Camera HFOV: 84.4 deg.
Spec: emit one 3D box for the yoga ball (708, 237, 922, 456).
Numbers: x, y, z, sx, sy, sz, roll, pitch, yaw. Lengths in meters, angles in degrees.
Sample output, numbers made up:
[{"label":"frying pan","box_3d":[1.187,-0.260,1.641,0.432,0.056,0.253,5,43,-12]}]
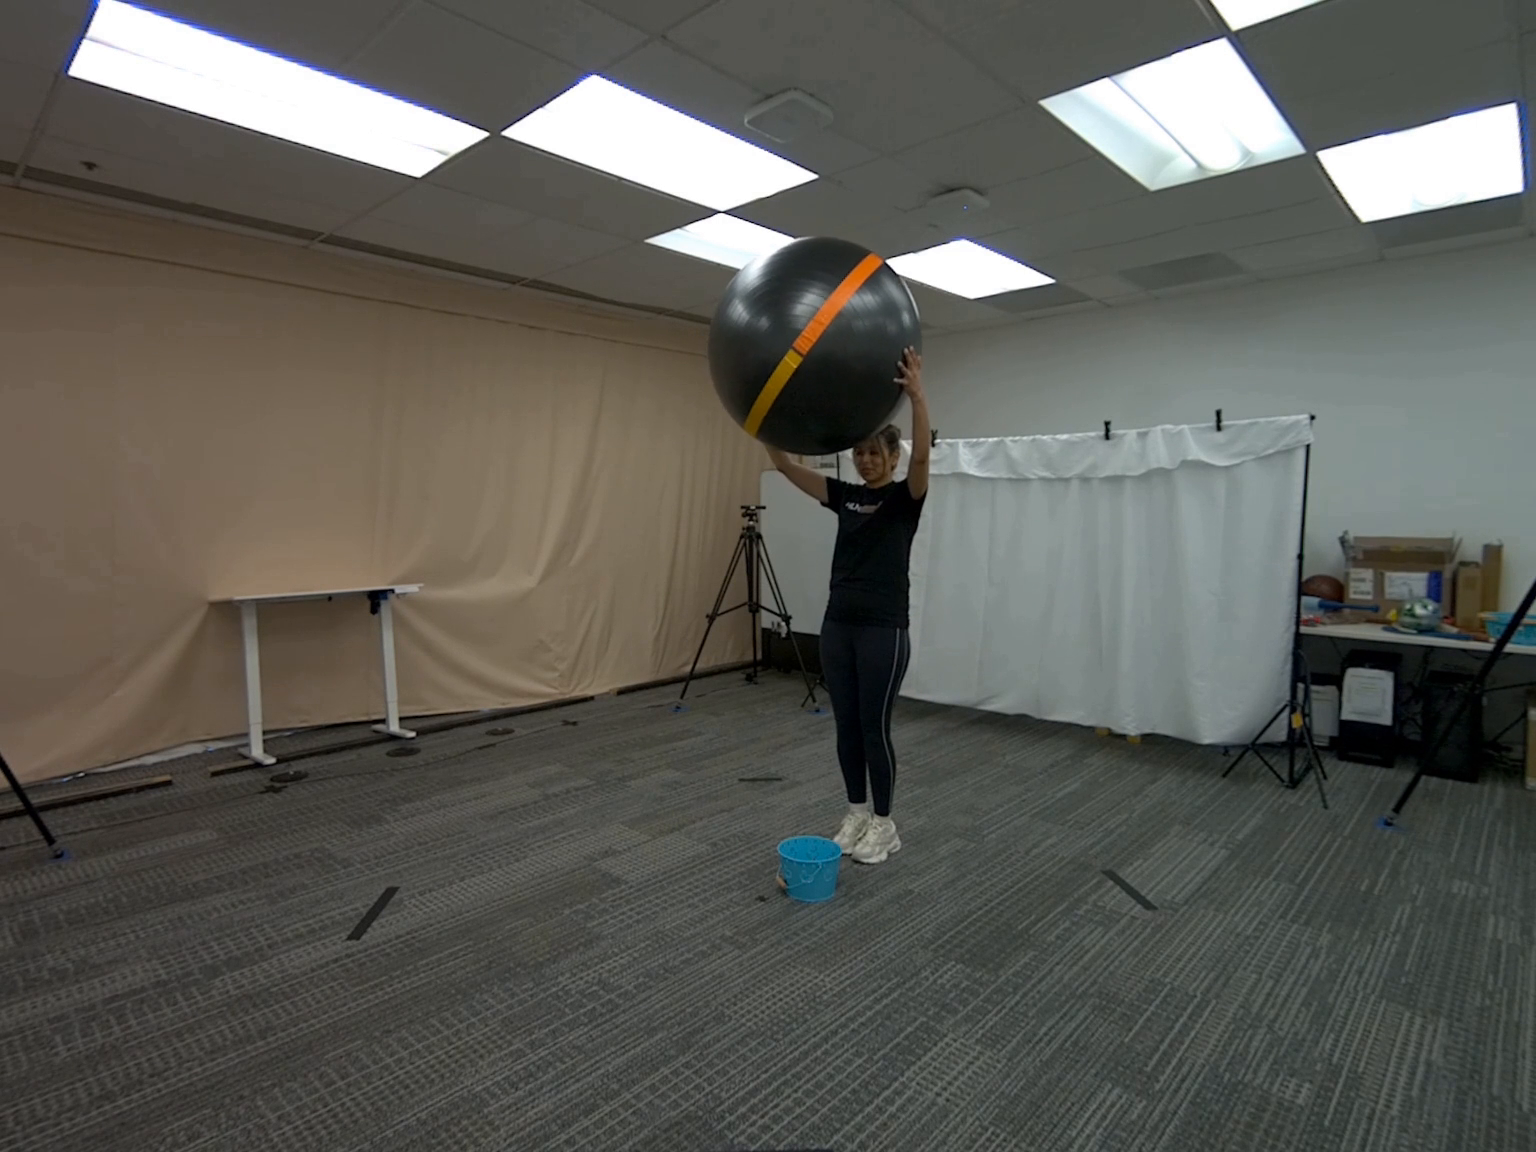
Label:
[{"label":"yoga ball","box_3d":[0.160,-0.801,3.005,0.757,0.756,0.760,0,4,-2]}]
